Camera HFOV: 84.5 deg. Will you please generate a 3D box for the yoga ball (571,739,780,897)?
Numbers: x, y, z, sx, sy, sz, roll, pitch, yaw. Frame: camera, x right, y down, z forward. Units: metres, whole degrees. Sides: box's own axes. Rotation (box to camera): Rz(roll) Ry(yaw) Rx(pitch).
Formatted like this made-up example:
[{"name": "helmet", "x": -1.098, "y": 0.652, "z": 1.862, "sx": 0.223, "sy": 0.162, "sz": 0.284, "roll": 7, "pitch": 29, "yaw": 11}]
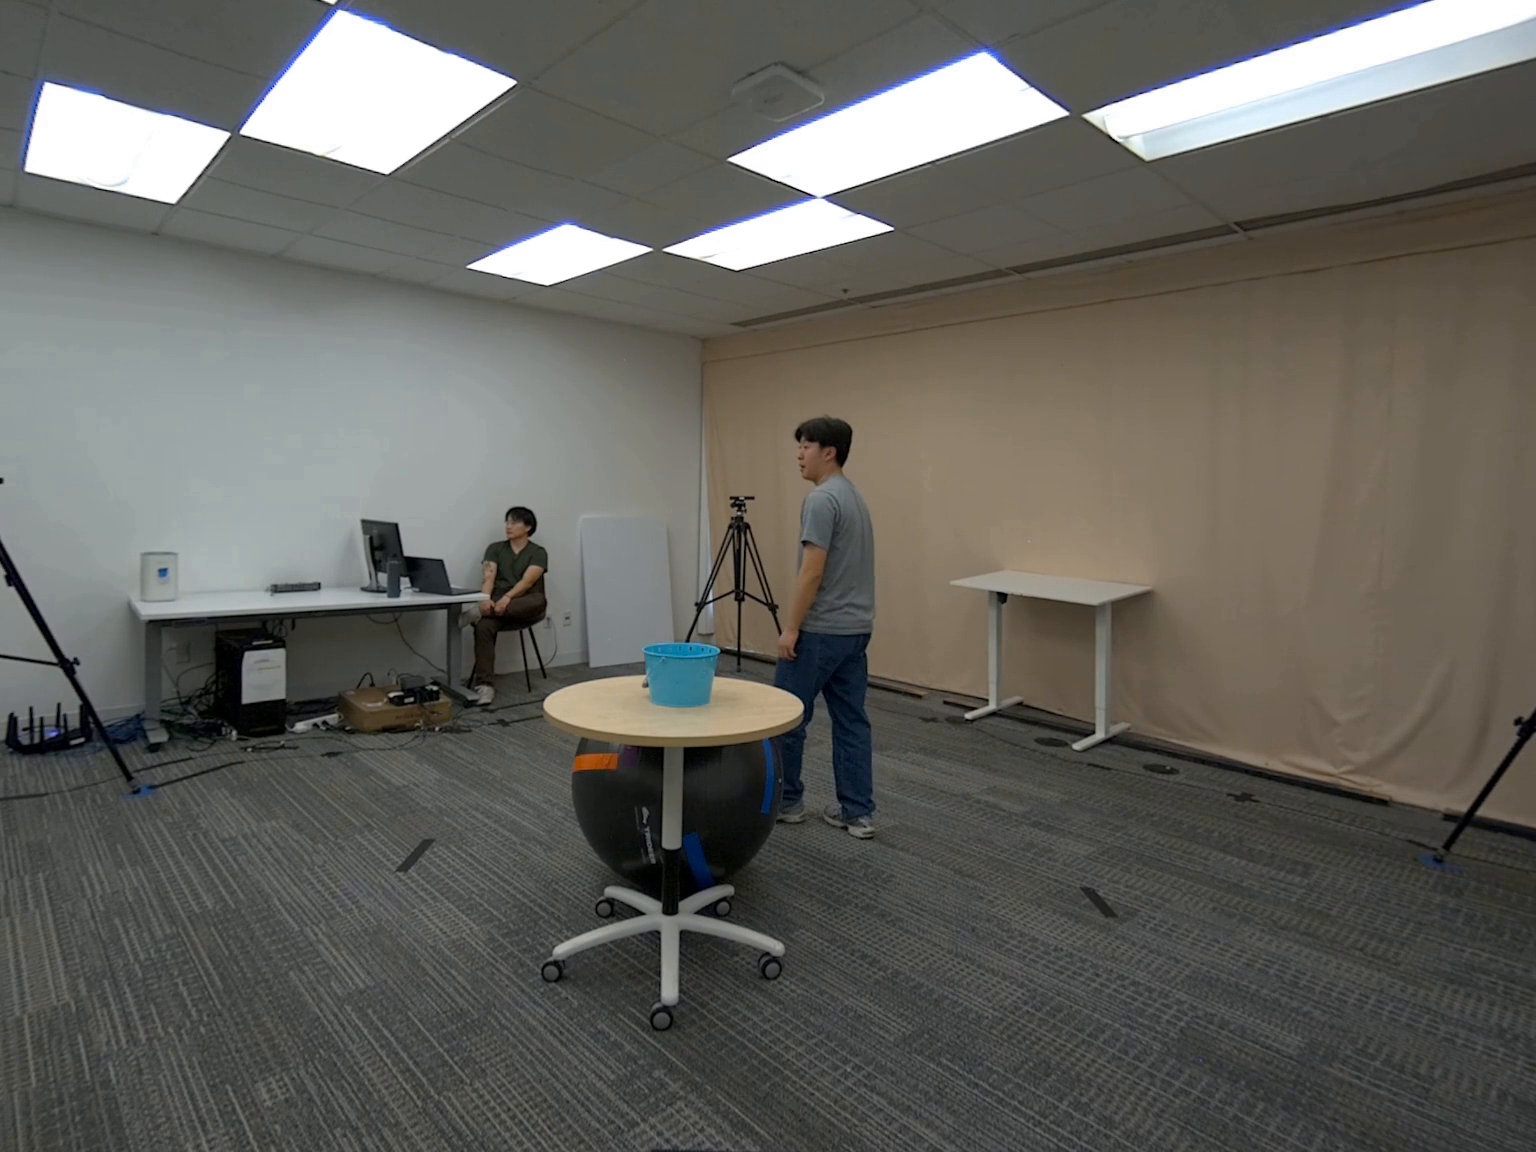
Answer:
[{"name": "yoga ball", "x": -0.335, "y": 0.735, "z": 3.033, "sx": 0.757, "sy": 0.756, "sz": 0.761, "roll": 1, "pitch": 4, "yaw": -1}]
